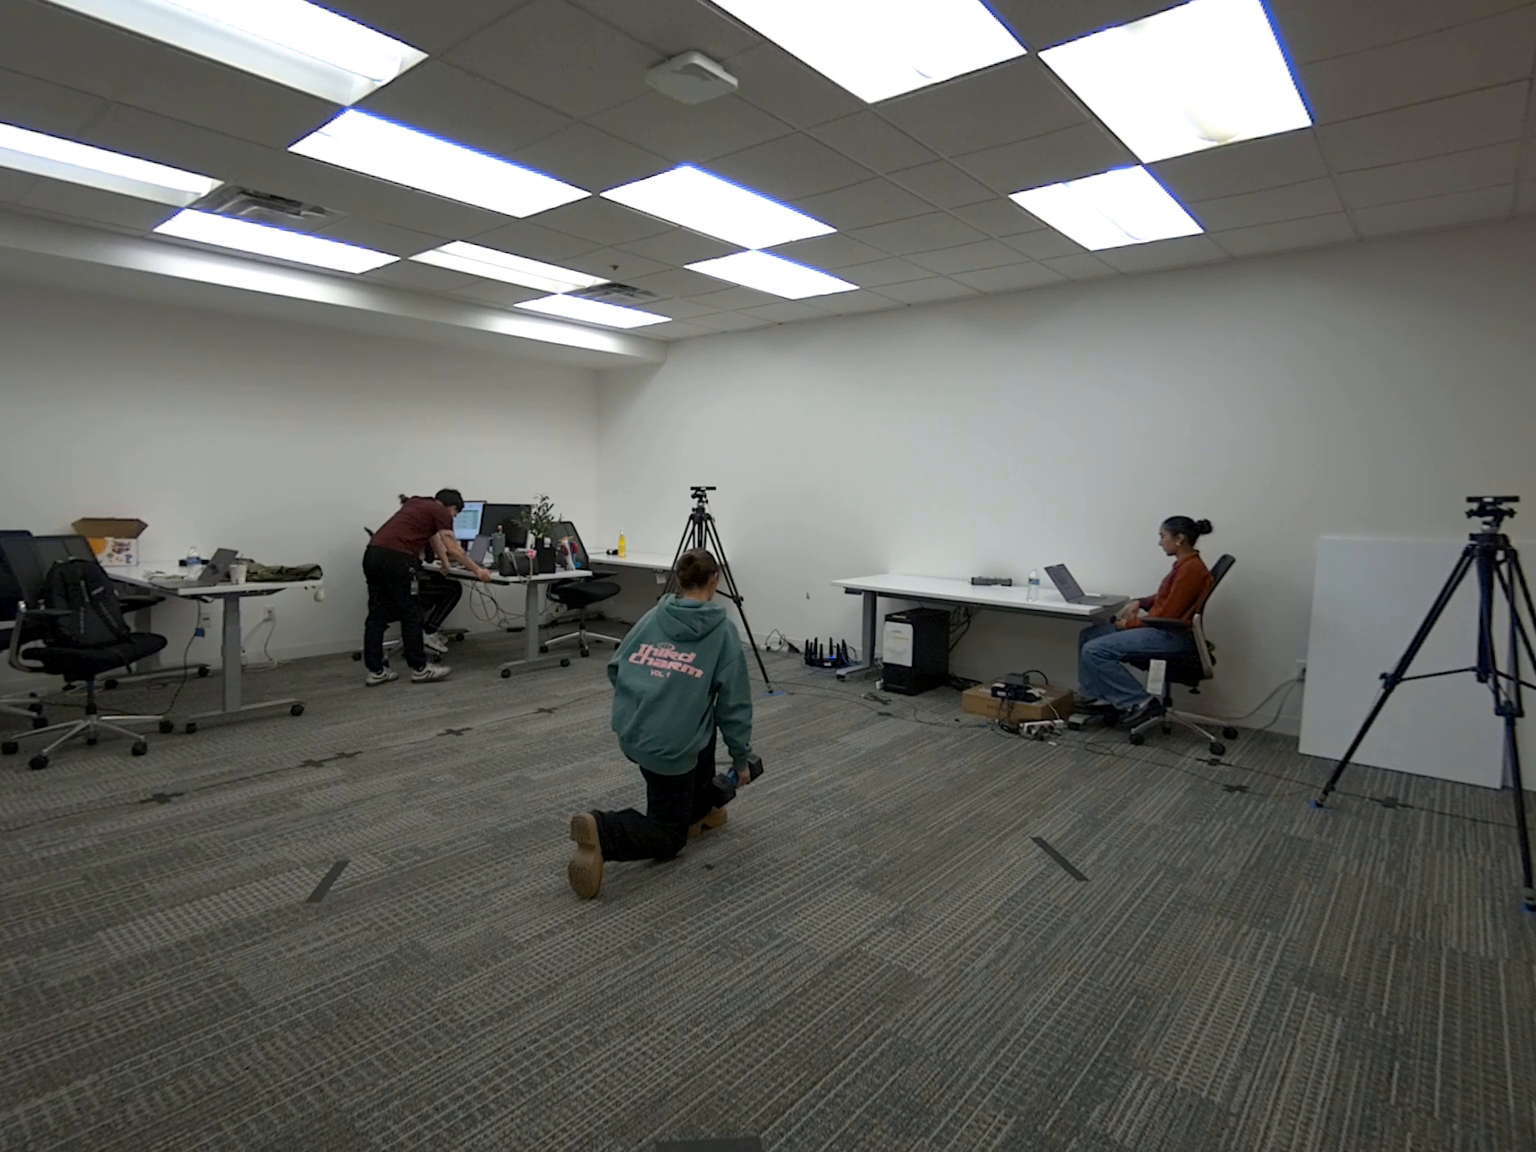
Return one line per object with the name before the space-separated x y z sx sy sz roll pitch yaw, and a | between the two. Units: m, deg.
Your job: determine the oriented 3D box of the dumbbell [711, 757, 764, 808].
dumbbell | -0.143 0.794 3.338 0.123 0.110 0.288 -42 -9 33
